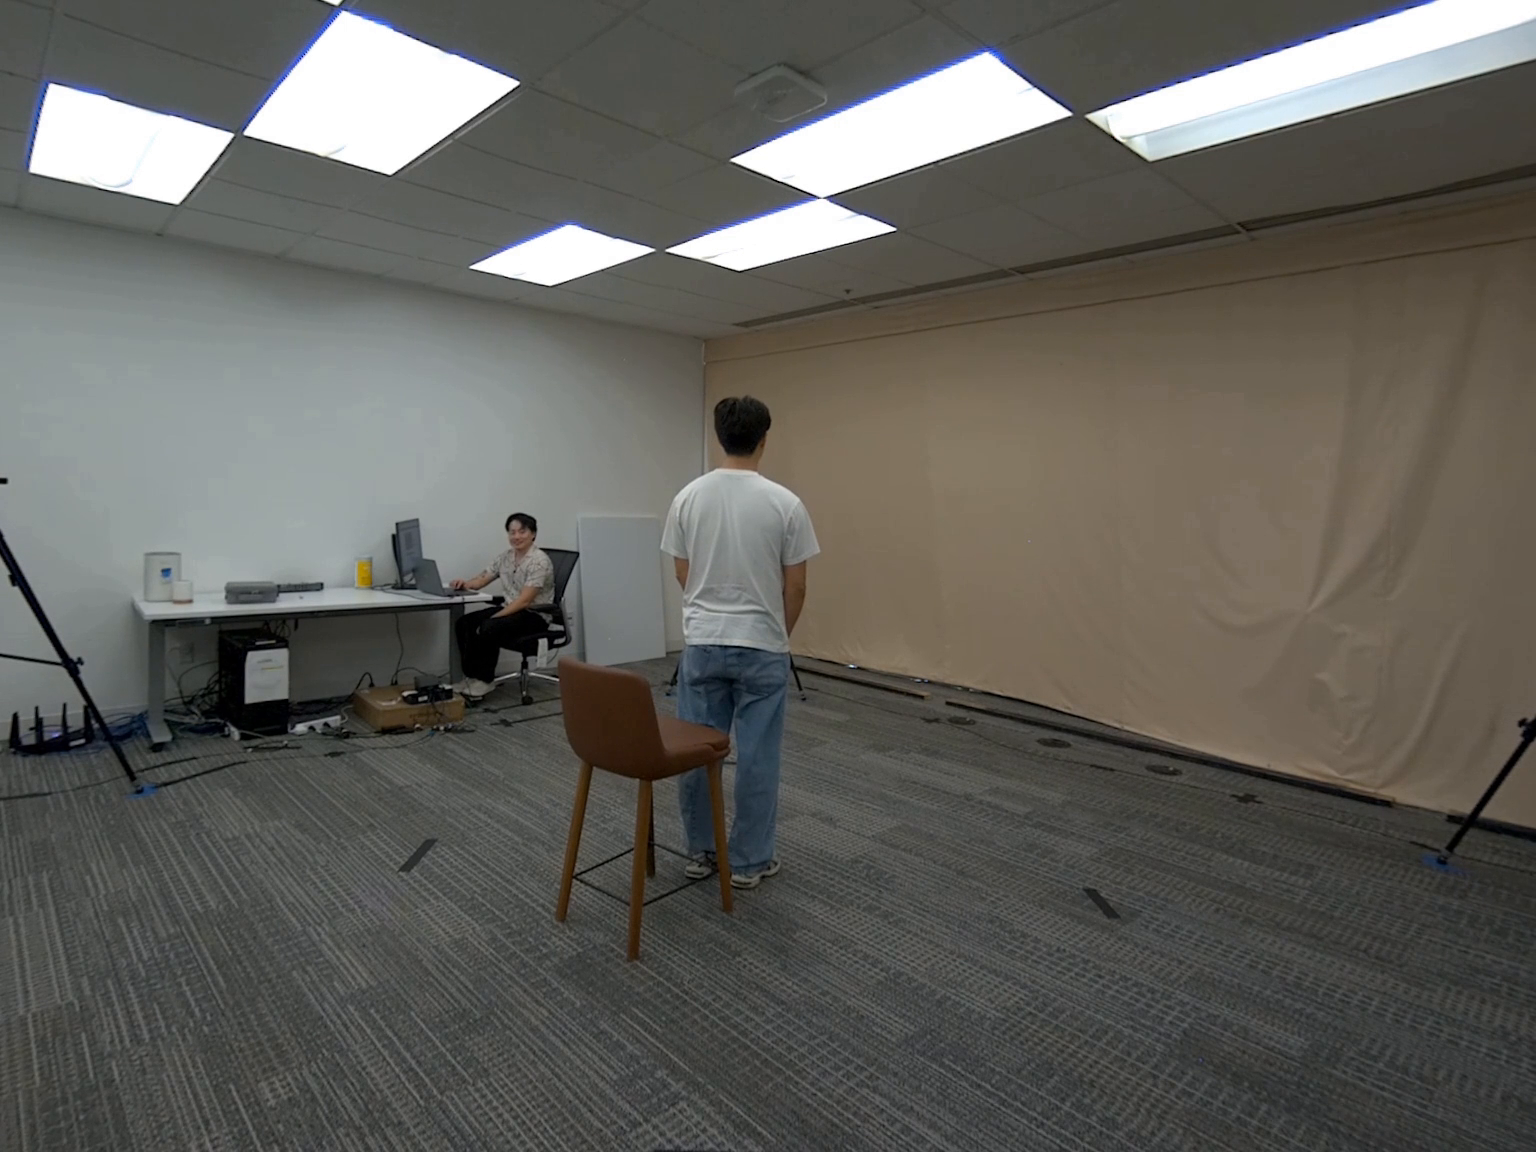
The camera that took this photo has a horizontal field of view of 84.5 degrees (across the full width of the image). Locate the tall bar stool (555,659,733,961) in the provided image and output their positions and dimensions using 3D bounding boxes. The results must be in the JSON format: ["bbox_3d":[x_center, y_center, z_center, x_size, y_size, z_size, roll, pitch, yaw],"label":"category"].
[{"bbox_3d":[-0.416,0.691,2.780,0.468,0.887,0.457,3,5,39],"label":"tall bar stool"}]
